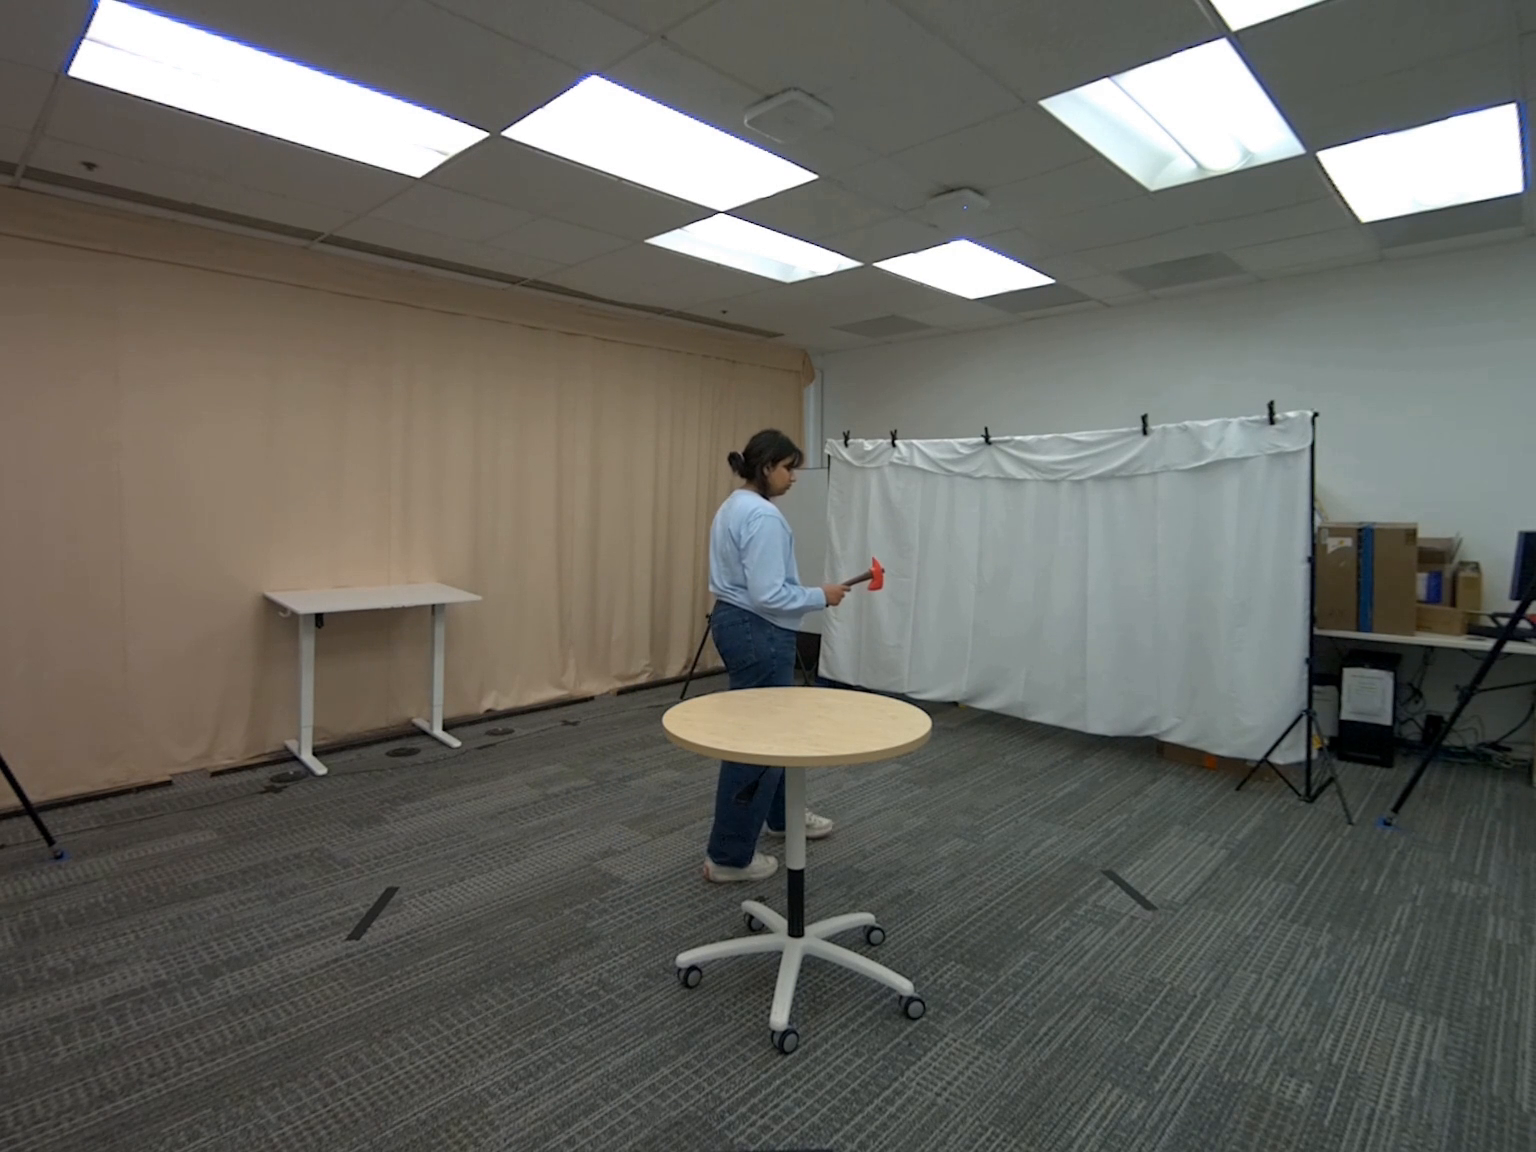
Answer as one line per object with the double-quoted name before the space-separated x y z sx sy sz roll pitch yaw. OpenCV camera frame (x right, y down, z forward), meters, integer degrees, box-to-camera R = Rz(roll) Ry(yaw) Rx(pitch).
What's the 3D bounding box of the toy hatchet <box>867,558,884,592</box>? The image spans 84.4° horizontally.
"toy hatchet" 0.337 0.050 3.191 0.269 0.128 0.030 -37 23 -4
